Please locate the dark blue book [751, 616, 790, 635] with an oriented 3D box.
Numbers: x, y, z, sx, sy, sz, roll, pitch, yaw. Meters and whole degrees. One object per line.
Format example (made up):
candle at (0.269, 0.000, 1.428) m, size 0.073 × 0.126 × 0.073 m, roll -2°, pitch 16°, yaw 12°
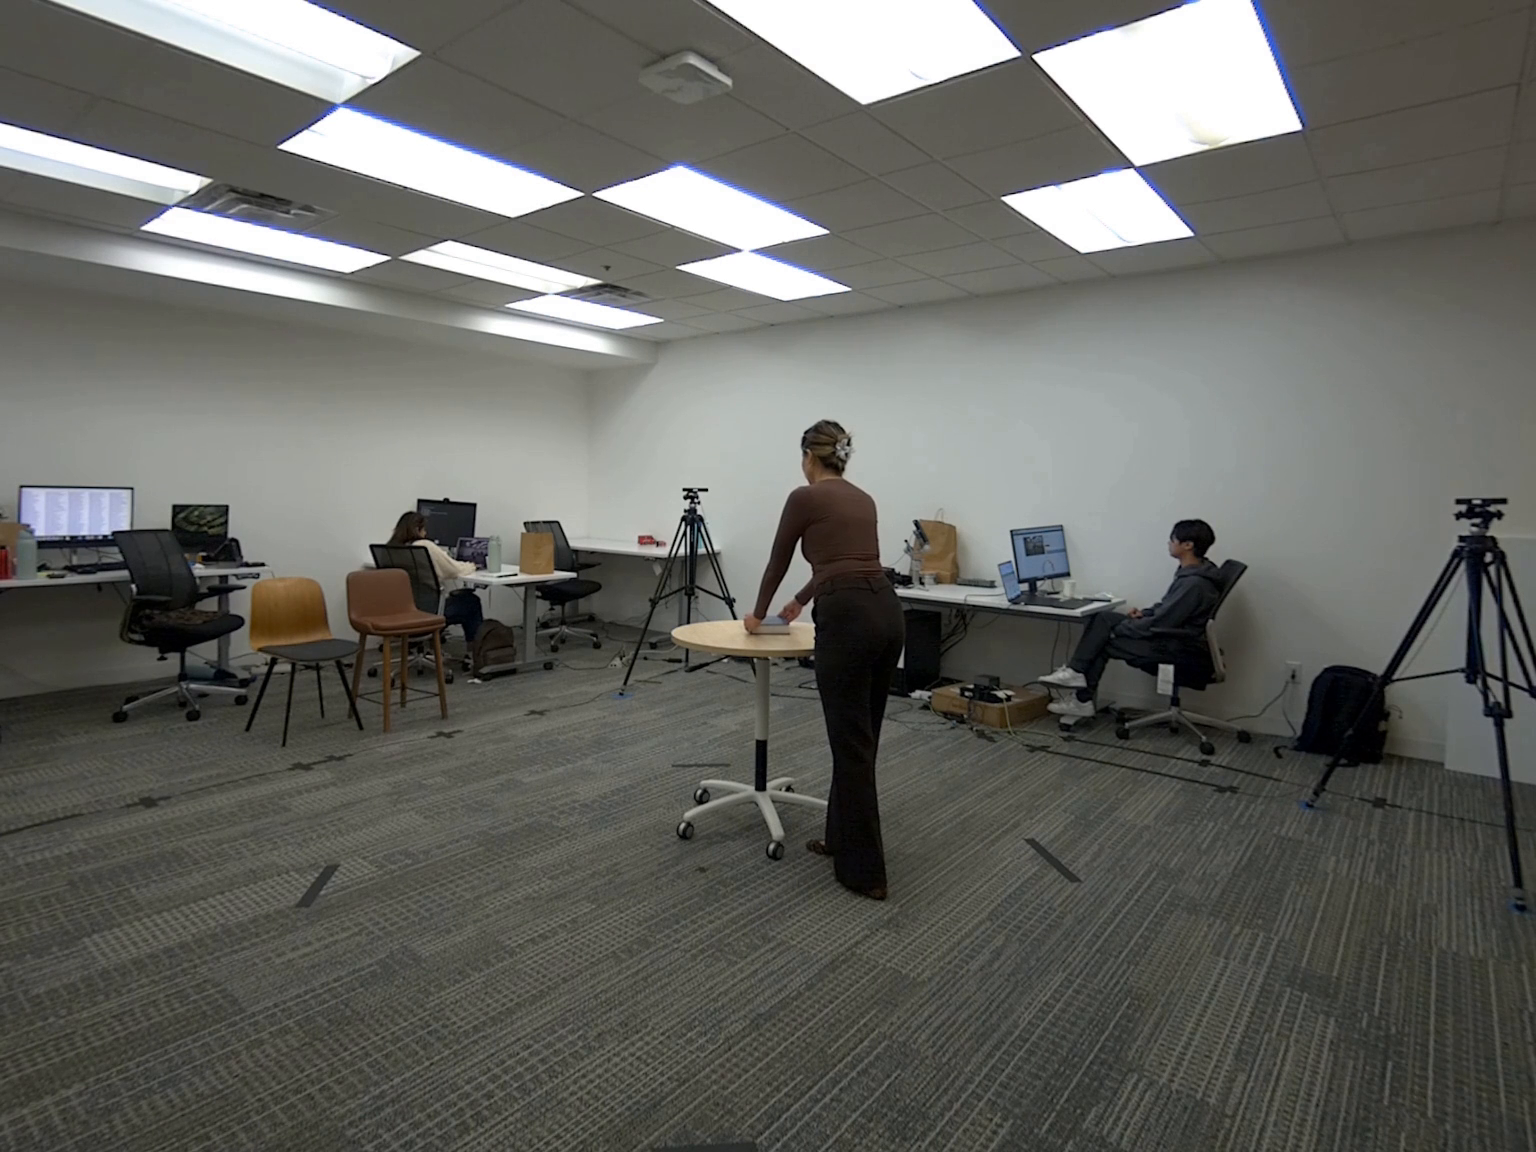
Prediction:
dark blue book at (-0.017, 0.211, 3.635) m, size 0.162 × 0.045 × 0.247 m, roll 0°, pitch 6°, yaw -6°
